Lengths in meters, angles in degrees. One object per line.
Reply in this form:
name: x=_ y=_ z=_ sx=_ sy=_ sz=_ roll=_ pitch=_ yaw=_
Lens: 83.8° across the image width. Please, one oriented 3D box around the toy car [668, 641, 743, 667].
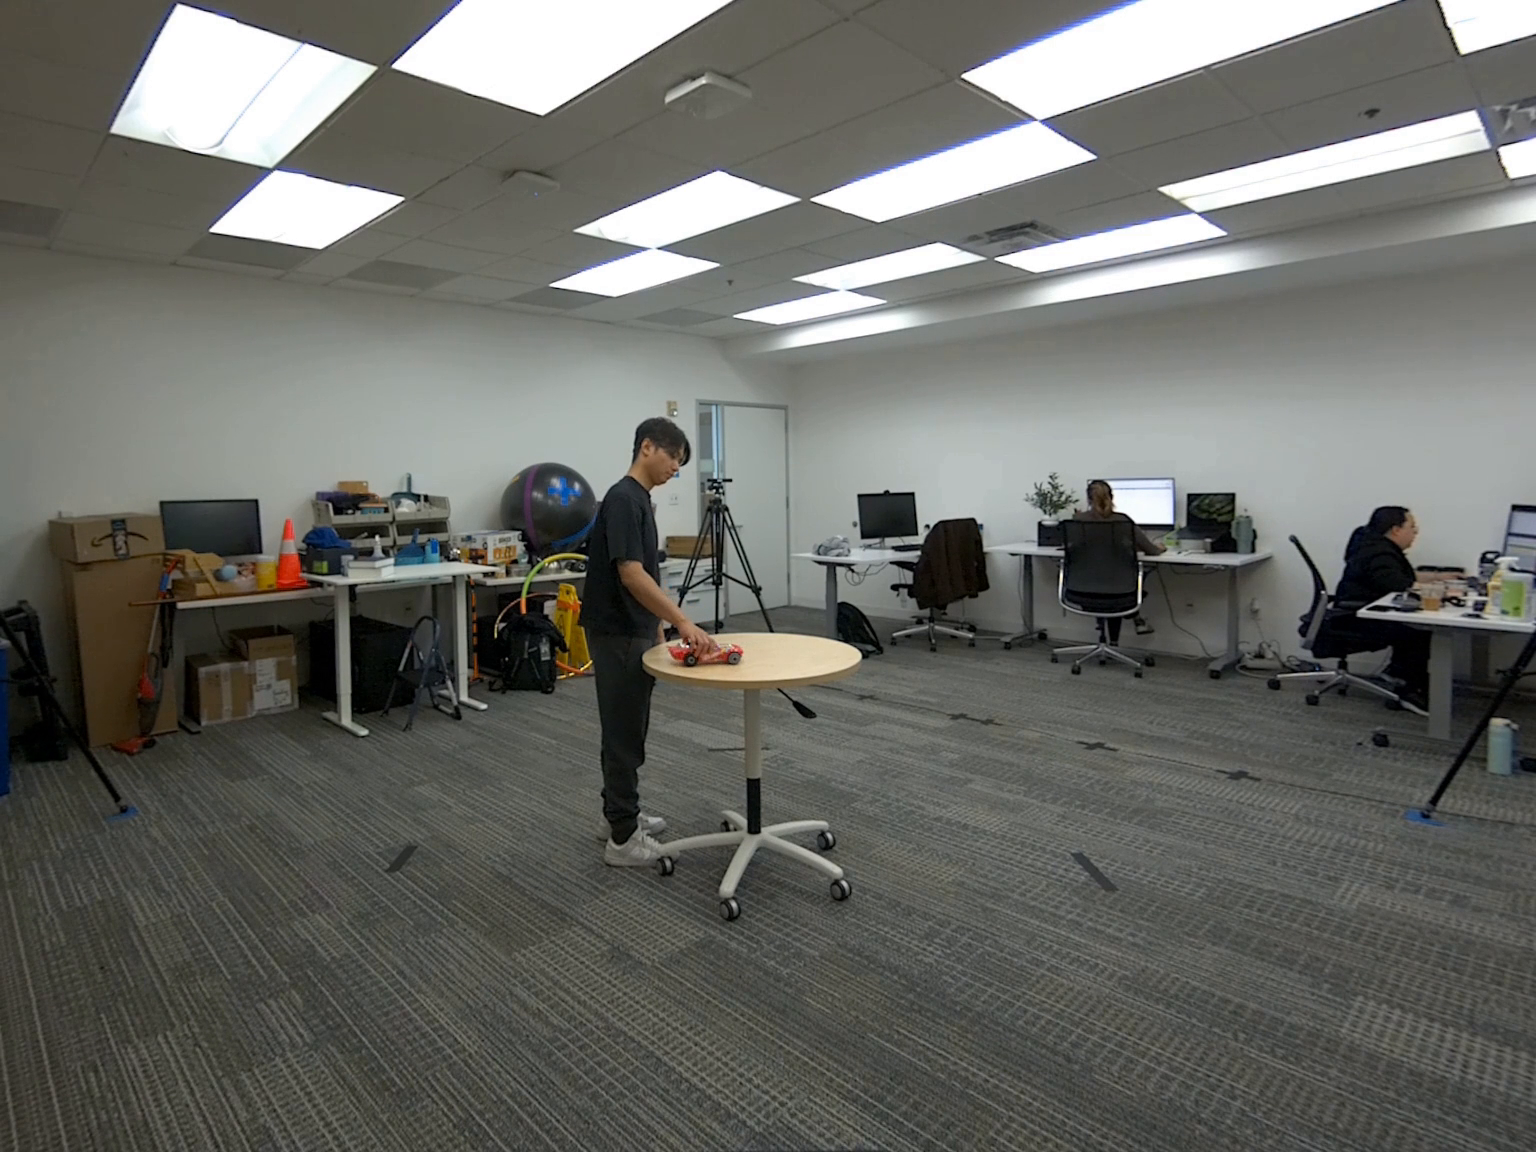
toy car: x=-0.214 y=0.260 z=2.873 sx=0.251 sy=0.083 sz=0.132 roll=9 pitch=4 yaw=-11
